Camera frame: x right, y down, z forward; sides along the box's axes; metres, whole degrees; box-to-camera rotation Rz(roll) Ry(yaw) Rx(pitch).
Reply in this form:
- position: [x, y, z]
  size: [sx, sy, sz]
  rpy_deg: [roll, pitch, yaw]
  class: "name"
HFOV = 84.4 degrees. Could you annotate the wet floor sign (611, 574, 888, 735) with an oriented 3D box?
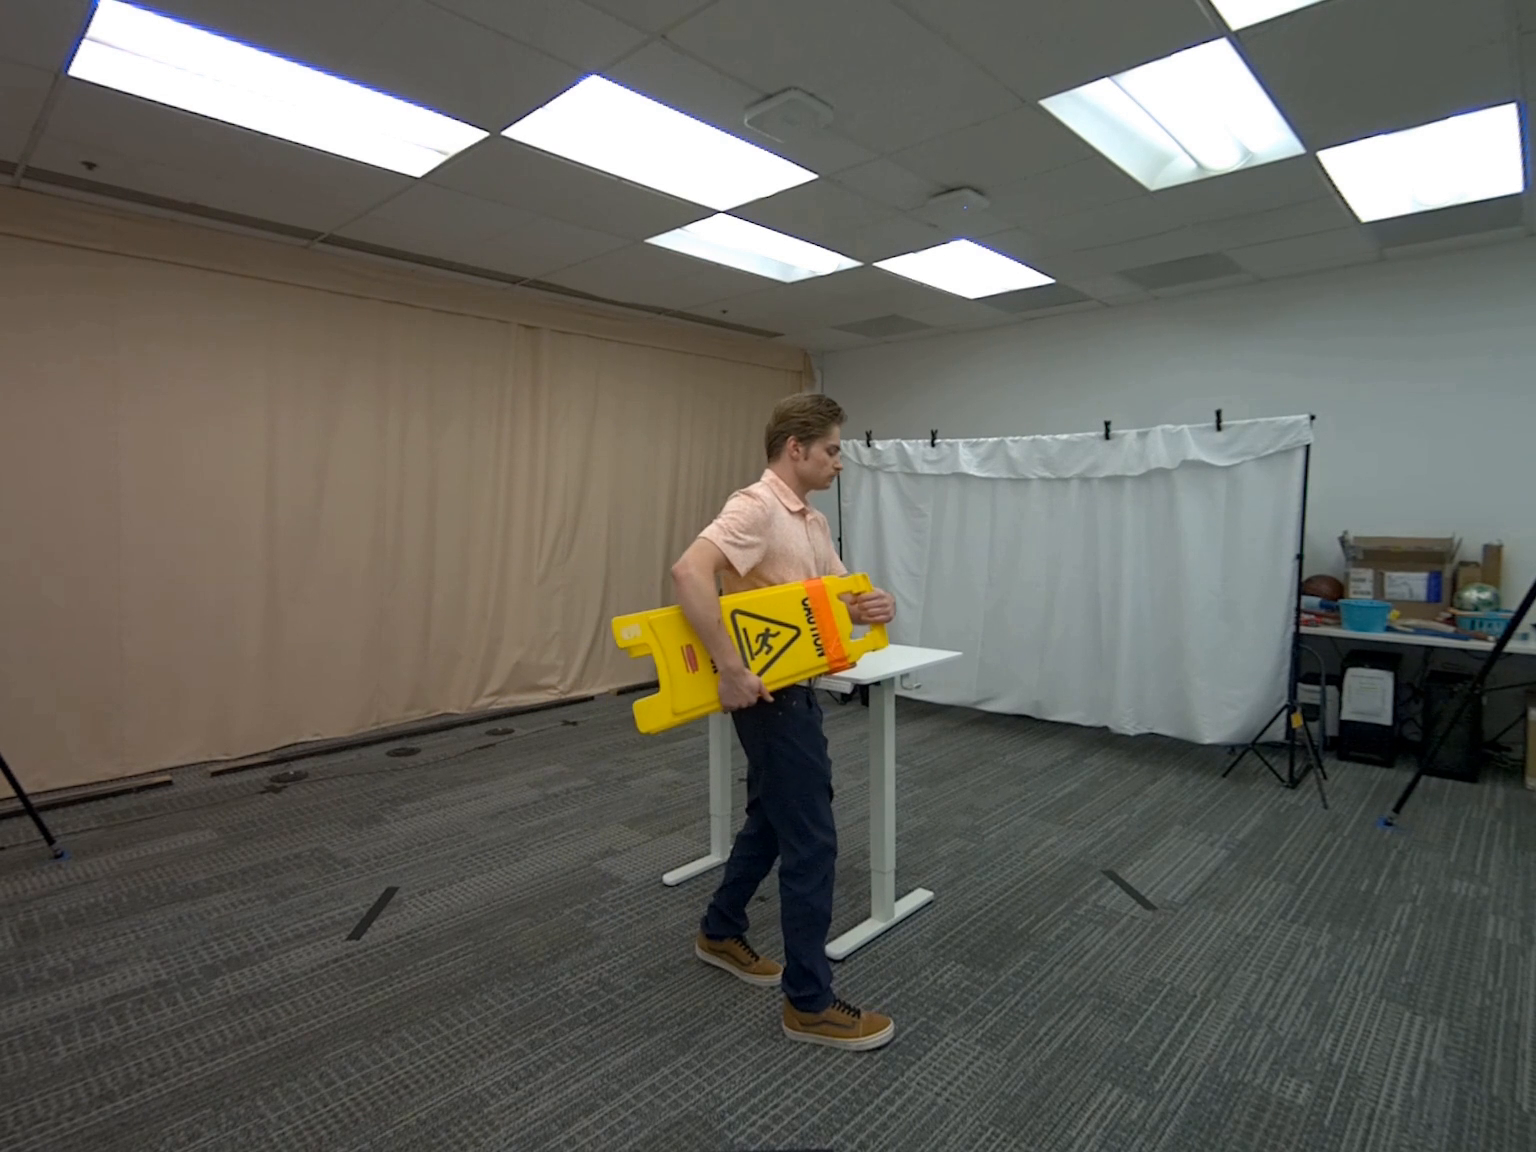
- position: [-0.028, 0.177, 2.105]
  size: [0.645, 0.286, 0.287]
  rpy_deg: [-17, -12, -2]
  class: "wet floor sign"
